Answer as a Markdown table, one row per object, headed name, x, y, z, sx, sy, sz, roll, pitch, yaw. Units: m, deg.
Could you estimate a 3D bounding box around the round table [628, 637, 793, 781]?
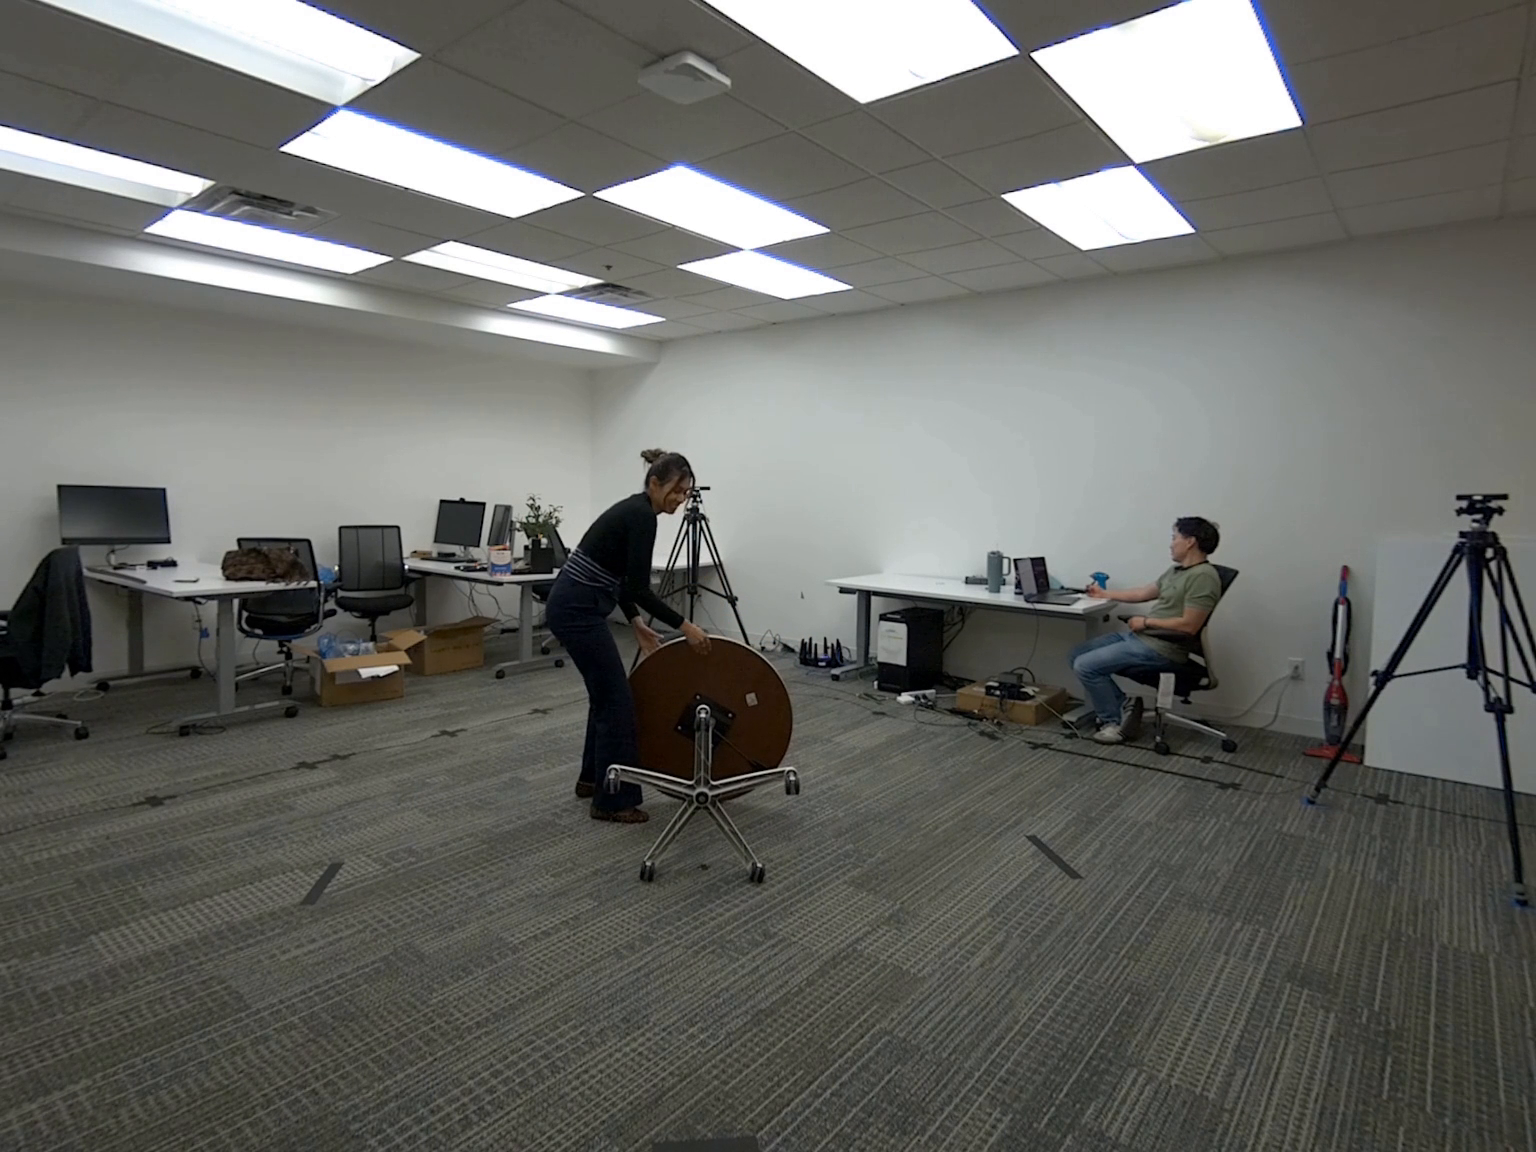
| name | x | y | z | sx | sy | sz | roll | pitch | yaw |
| --- | --- | --- | --- | --- | --- | --- | --- | --- | --- |
| round table | -0.262 | 0.719 | 3.317 | 0.764 | 0.756 | 0.803 | 1 | 11 | -1 |
